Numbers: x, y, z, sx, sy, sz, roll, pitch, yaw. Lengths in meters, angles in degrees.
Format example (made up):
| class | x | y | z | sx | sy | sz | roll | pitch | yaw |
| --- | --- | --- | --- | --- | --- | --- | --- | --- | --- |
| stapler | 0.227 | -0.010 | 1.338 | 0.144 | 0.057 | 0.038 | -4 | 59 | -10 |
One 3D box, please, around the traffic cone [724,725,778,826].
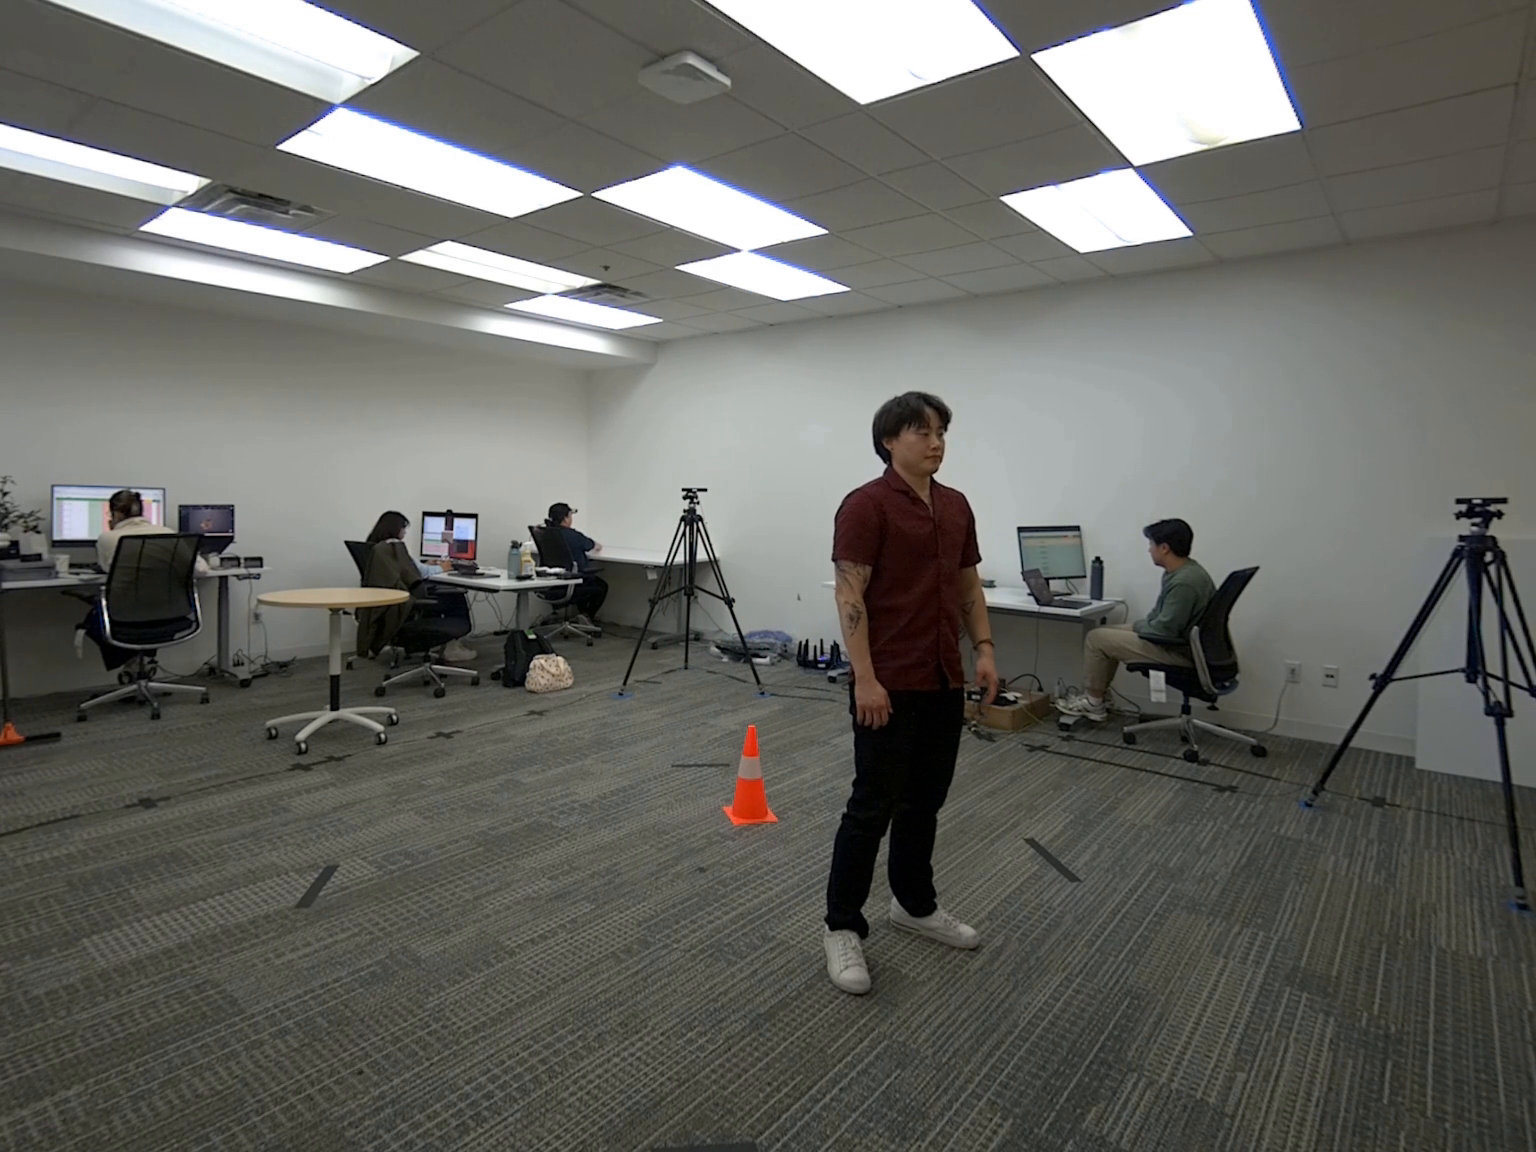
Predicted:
| class | x | y | z | sx | sy | sz | roll | pitch | yaw |
| --- | --- | --- | --- | --- | --- | --- | --- | --- | --- |
| traffic cone | -0.088 | 0.832 | 3.642 | 0.200 | 0.382 | 0.209 | -1 | 5 | -18 |
